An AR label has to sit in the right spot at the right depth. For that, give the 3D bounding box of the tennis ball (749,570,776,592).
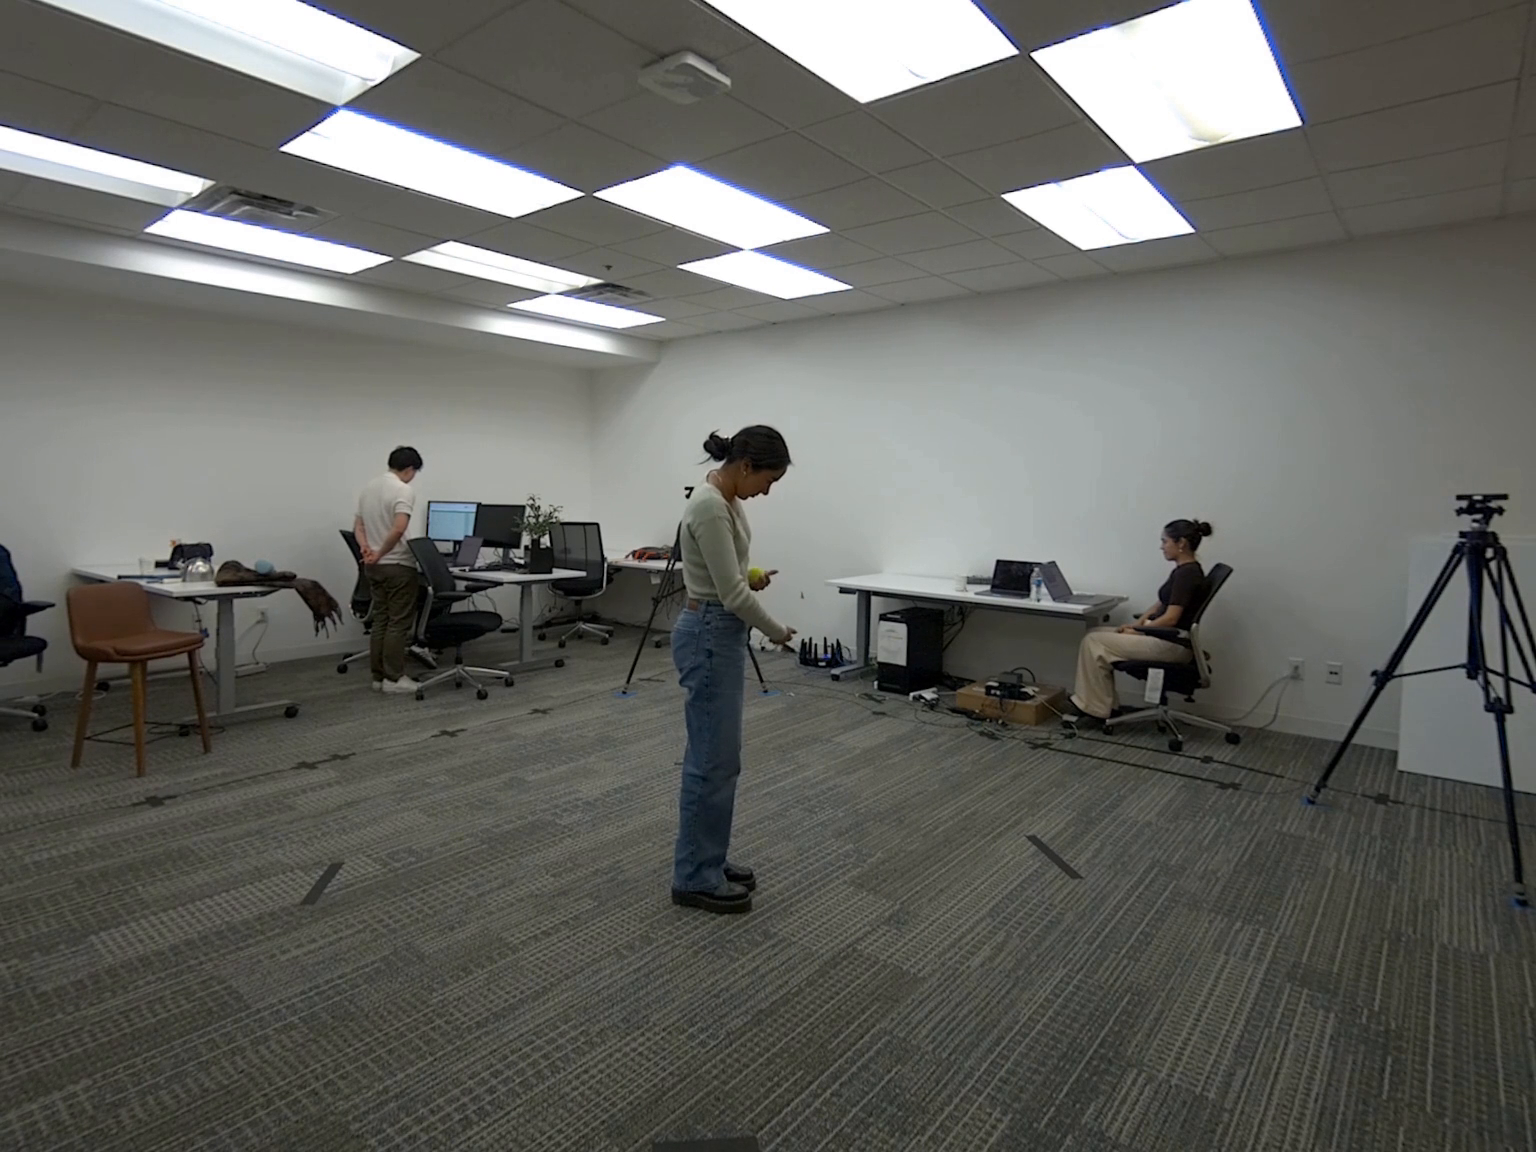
[{"bbox_3d":[-0.038,0.016,2.930,0.066,0.066,0.067,1,4,-2],"label":"tennis ball"}]
